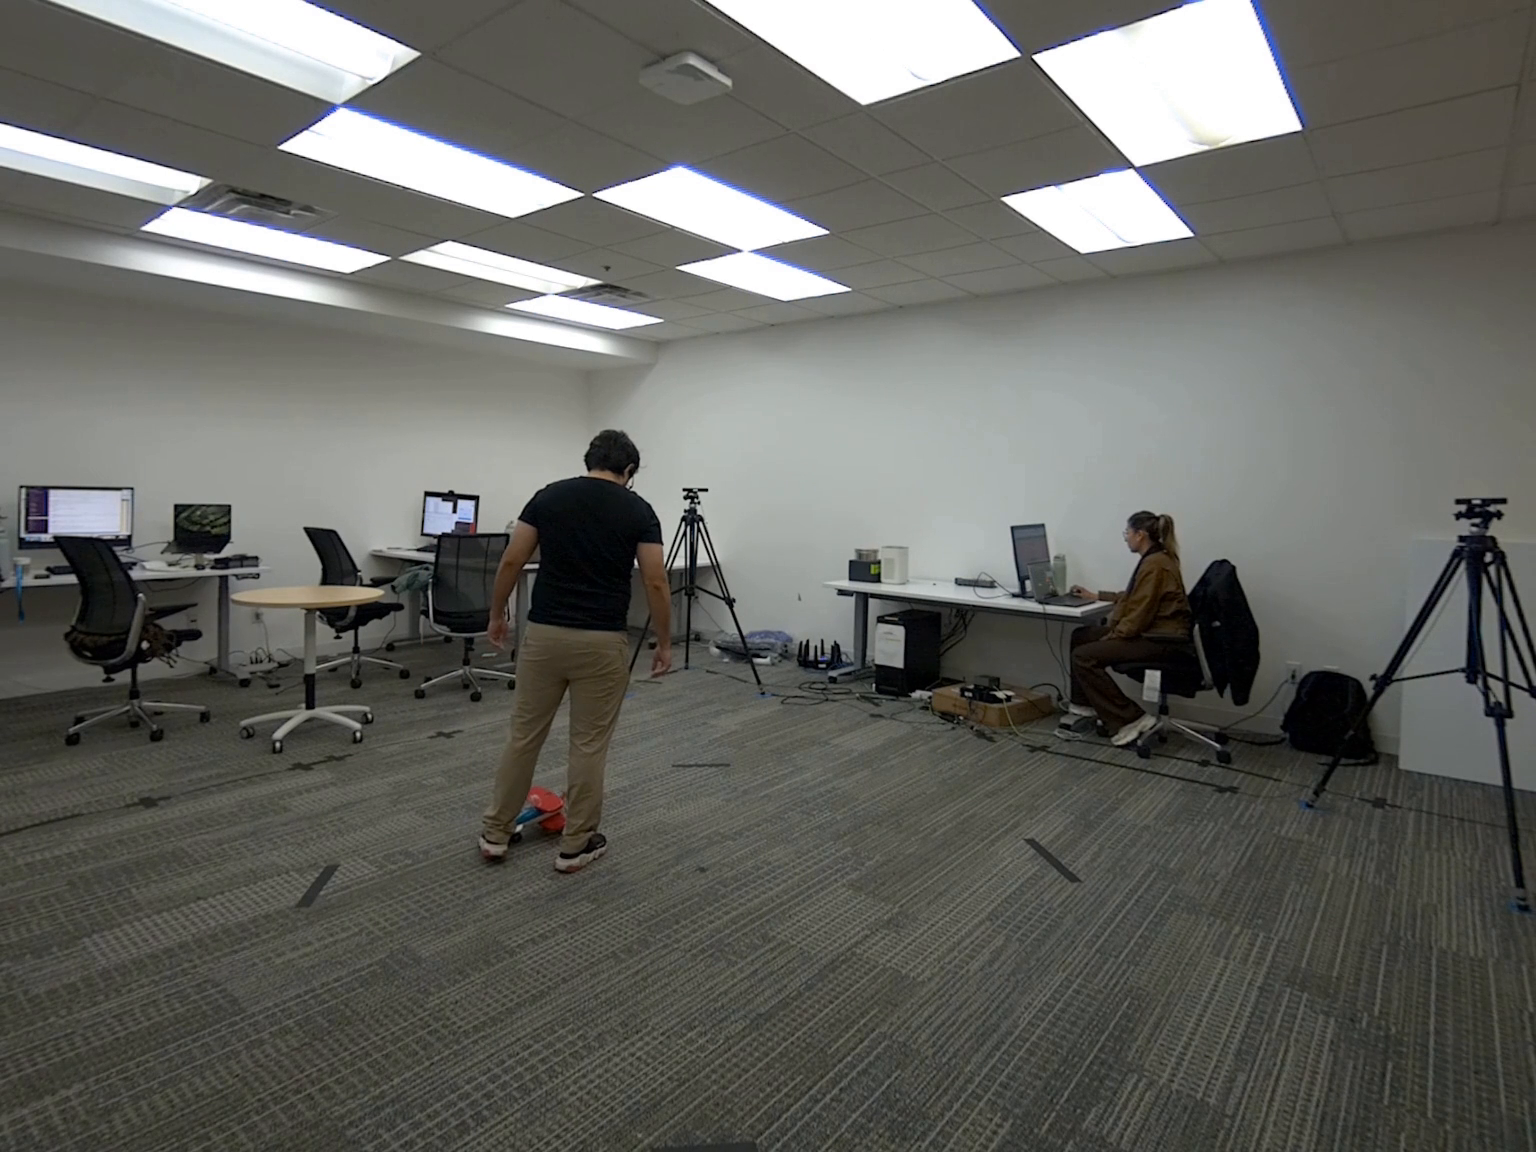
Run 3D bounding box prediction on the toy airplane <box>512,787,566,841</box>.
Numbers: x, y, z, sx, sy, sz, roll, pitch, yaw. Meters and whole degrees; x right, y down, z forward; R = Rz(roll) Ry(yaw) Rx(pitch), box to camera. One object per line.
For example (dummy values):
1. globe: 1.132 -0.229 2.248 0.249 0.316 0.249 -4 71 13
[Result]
1. toy airplane: -0.926 0.958 3.388 0.257 0.156 0.254 2 3 20
